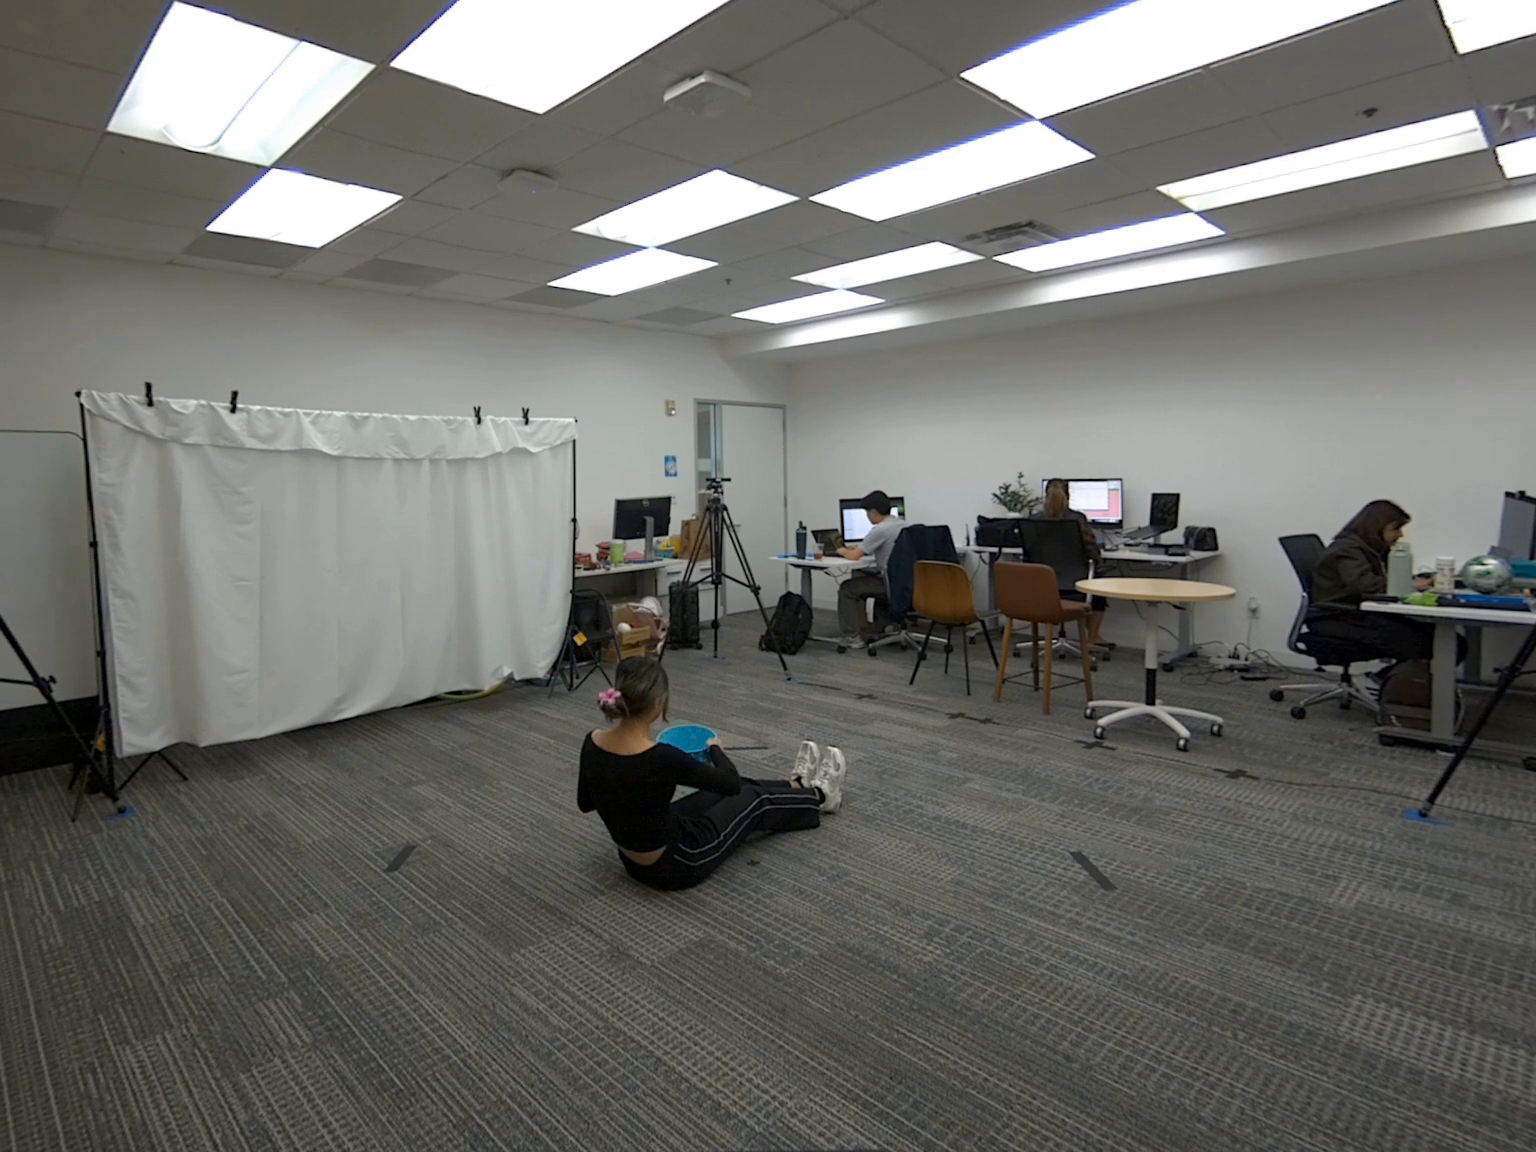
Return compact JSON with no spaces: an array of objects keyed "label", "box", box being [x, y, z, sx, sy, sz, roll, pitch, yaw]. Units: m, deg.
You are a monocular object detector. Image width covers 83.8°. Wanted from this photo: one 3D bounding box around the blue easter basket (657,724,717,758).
[{"label":"blue easter basket","box":[-0.302,0.704,3.295,0.243,0.154,0.246,-2,13,-1]}]
